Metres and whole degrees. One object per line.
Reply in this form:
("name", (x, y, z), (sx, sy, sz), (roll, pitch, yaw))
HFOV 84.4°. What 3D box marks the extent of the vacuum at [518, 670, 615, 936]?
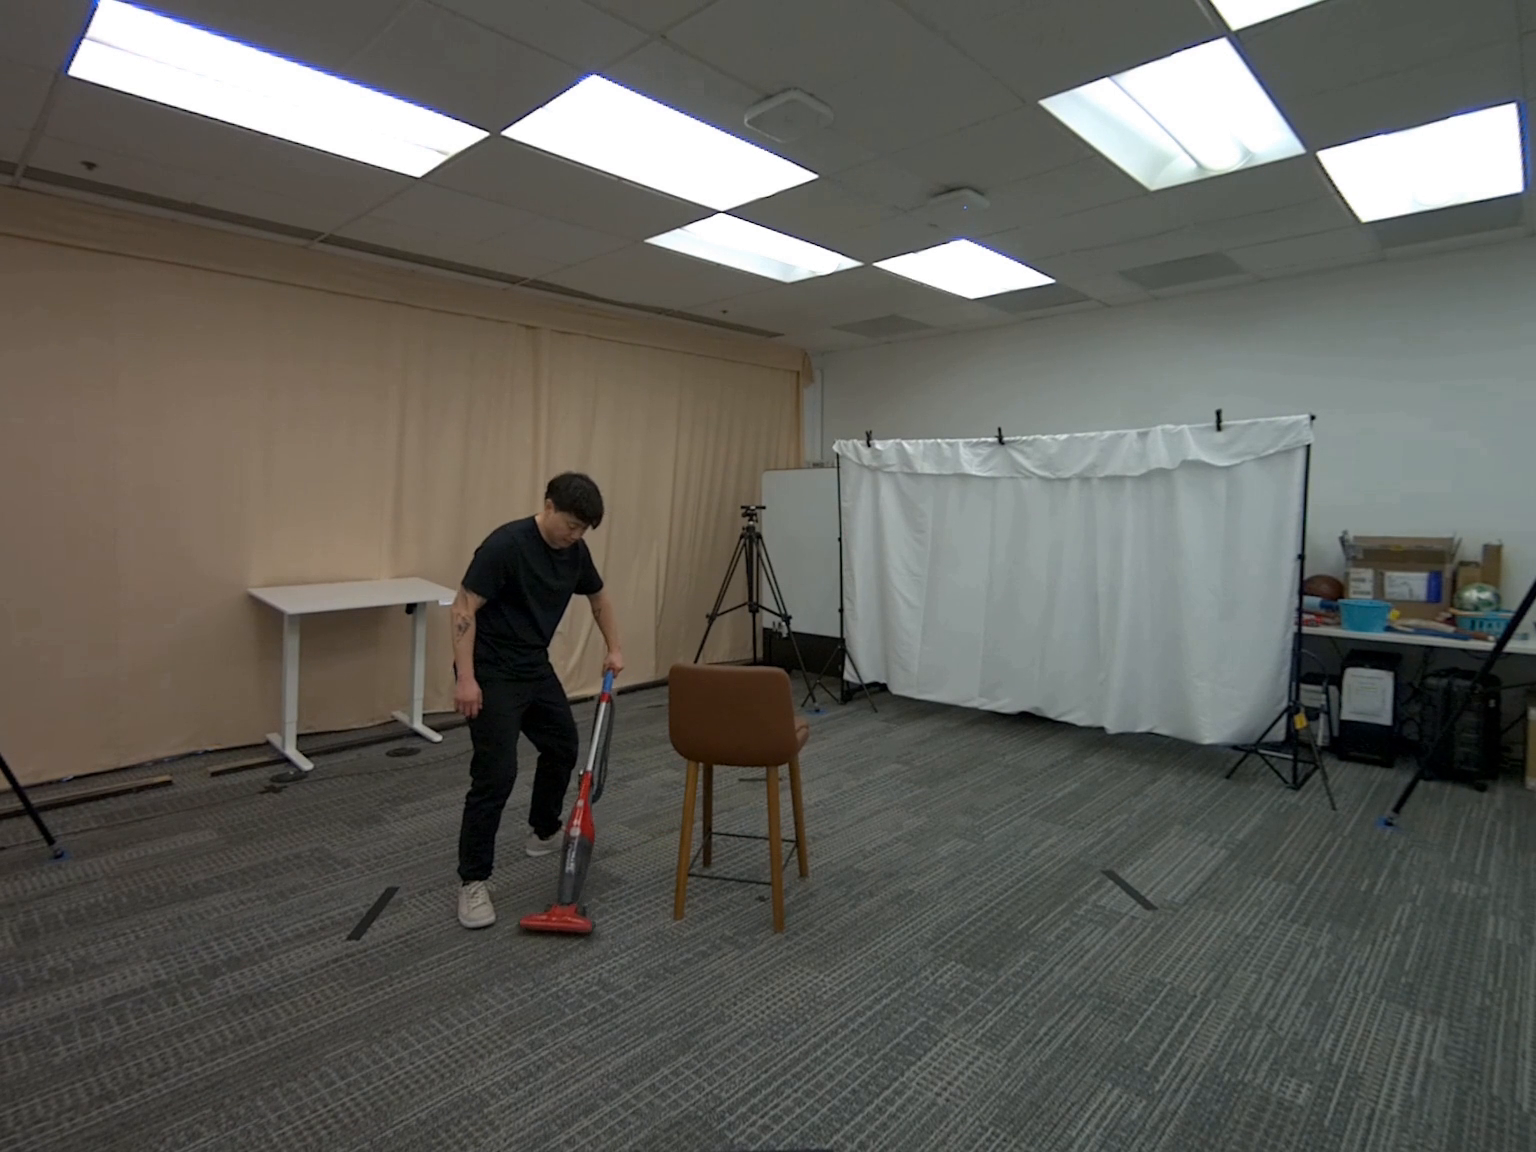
("vacuum", (-0.650, 0.760, 3.132), (0.254, 0.141, 1.064), (2, 47, 5))
